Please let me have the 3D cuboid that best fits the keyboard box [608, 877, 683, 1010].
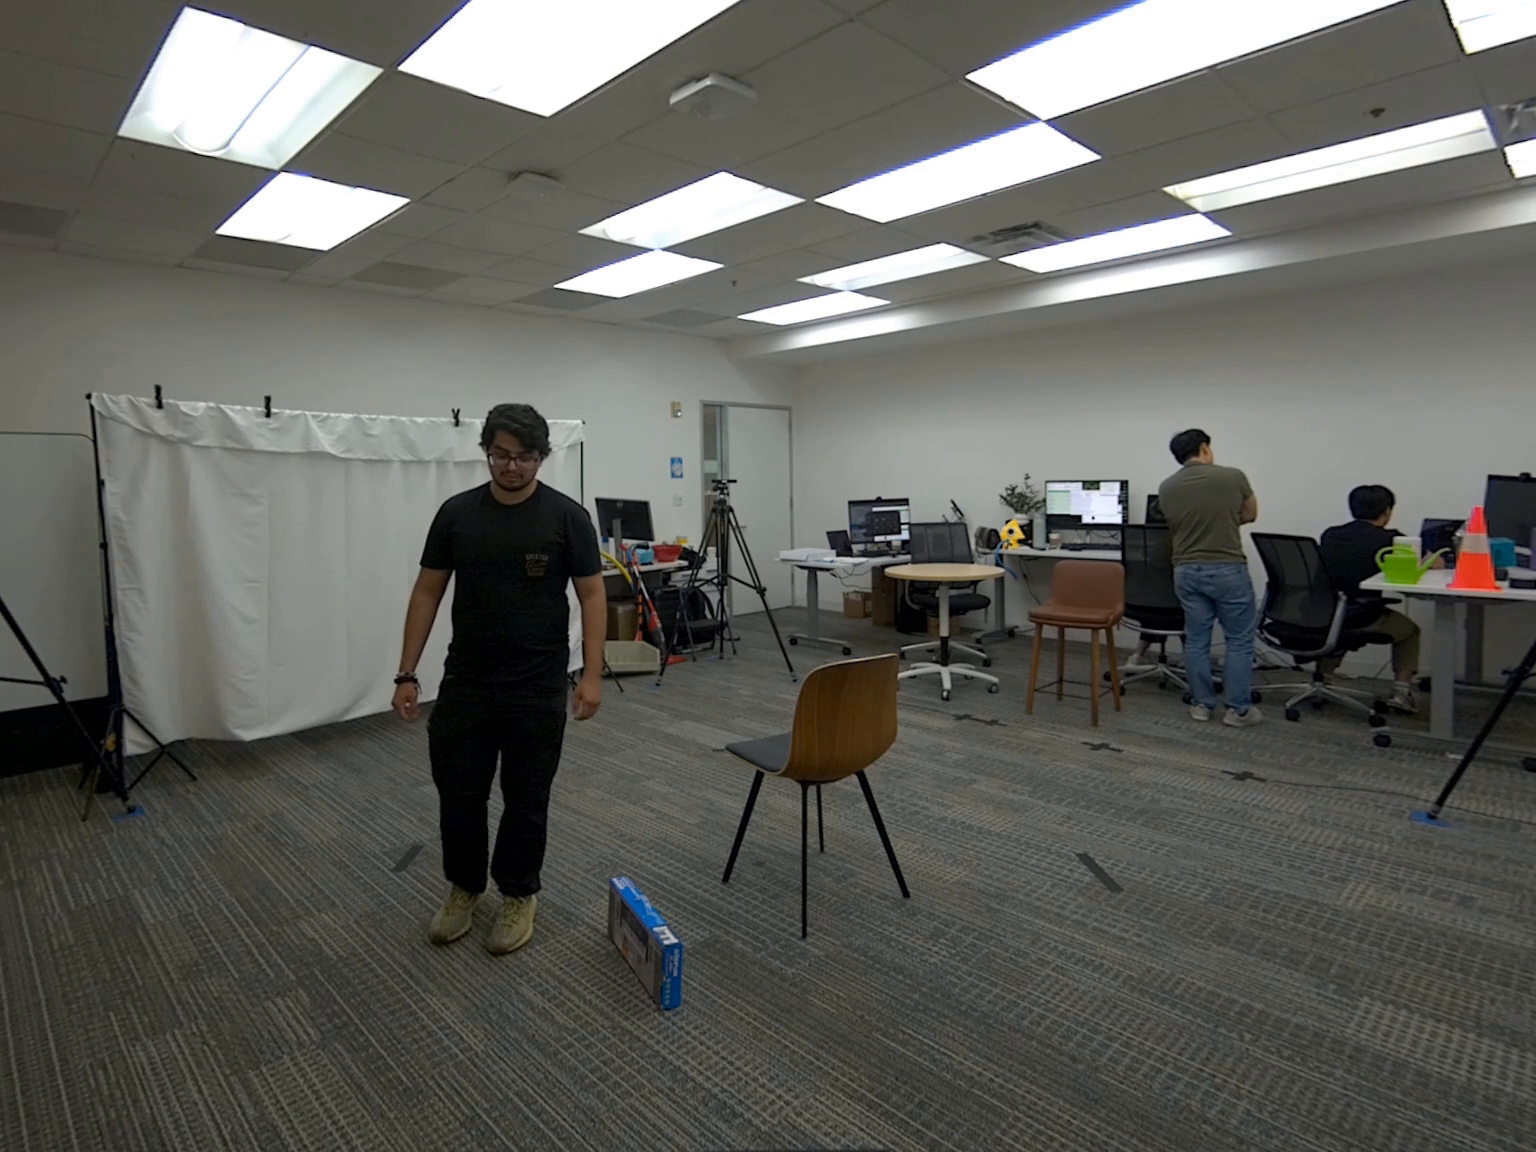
[{"bbox_3d":[-0.359,1.046,2.454,0.058,0.175,0.449,1,4,-29],"label":"keyboard box"}]
